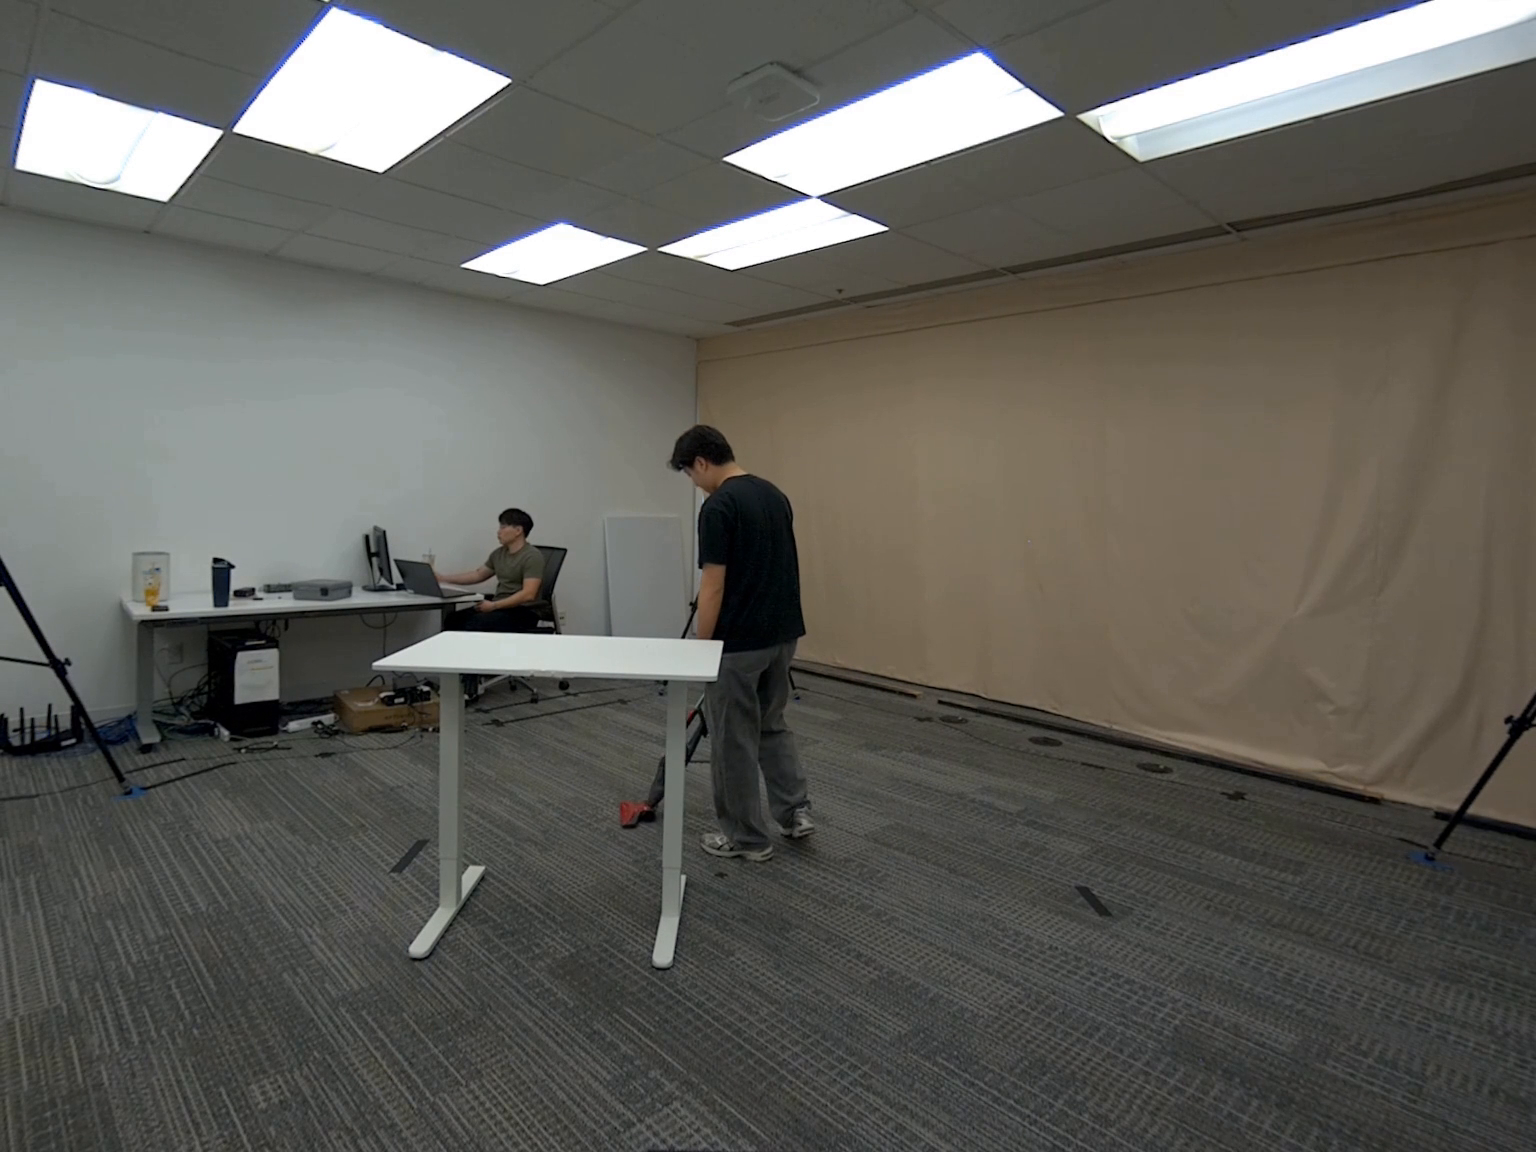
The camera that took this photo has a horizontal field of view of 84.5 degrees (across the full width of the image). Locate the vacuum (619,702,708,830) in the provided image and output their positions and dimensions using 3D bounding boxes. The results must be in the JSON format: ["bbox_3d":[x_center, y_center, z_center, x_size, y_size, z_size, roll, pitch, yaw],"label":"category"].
[{"bbox_3d":[-0.293,0.610,3.670,0.142,1.050,0.256,35,-3,-15],"label":"vacuum"}]
